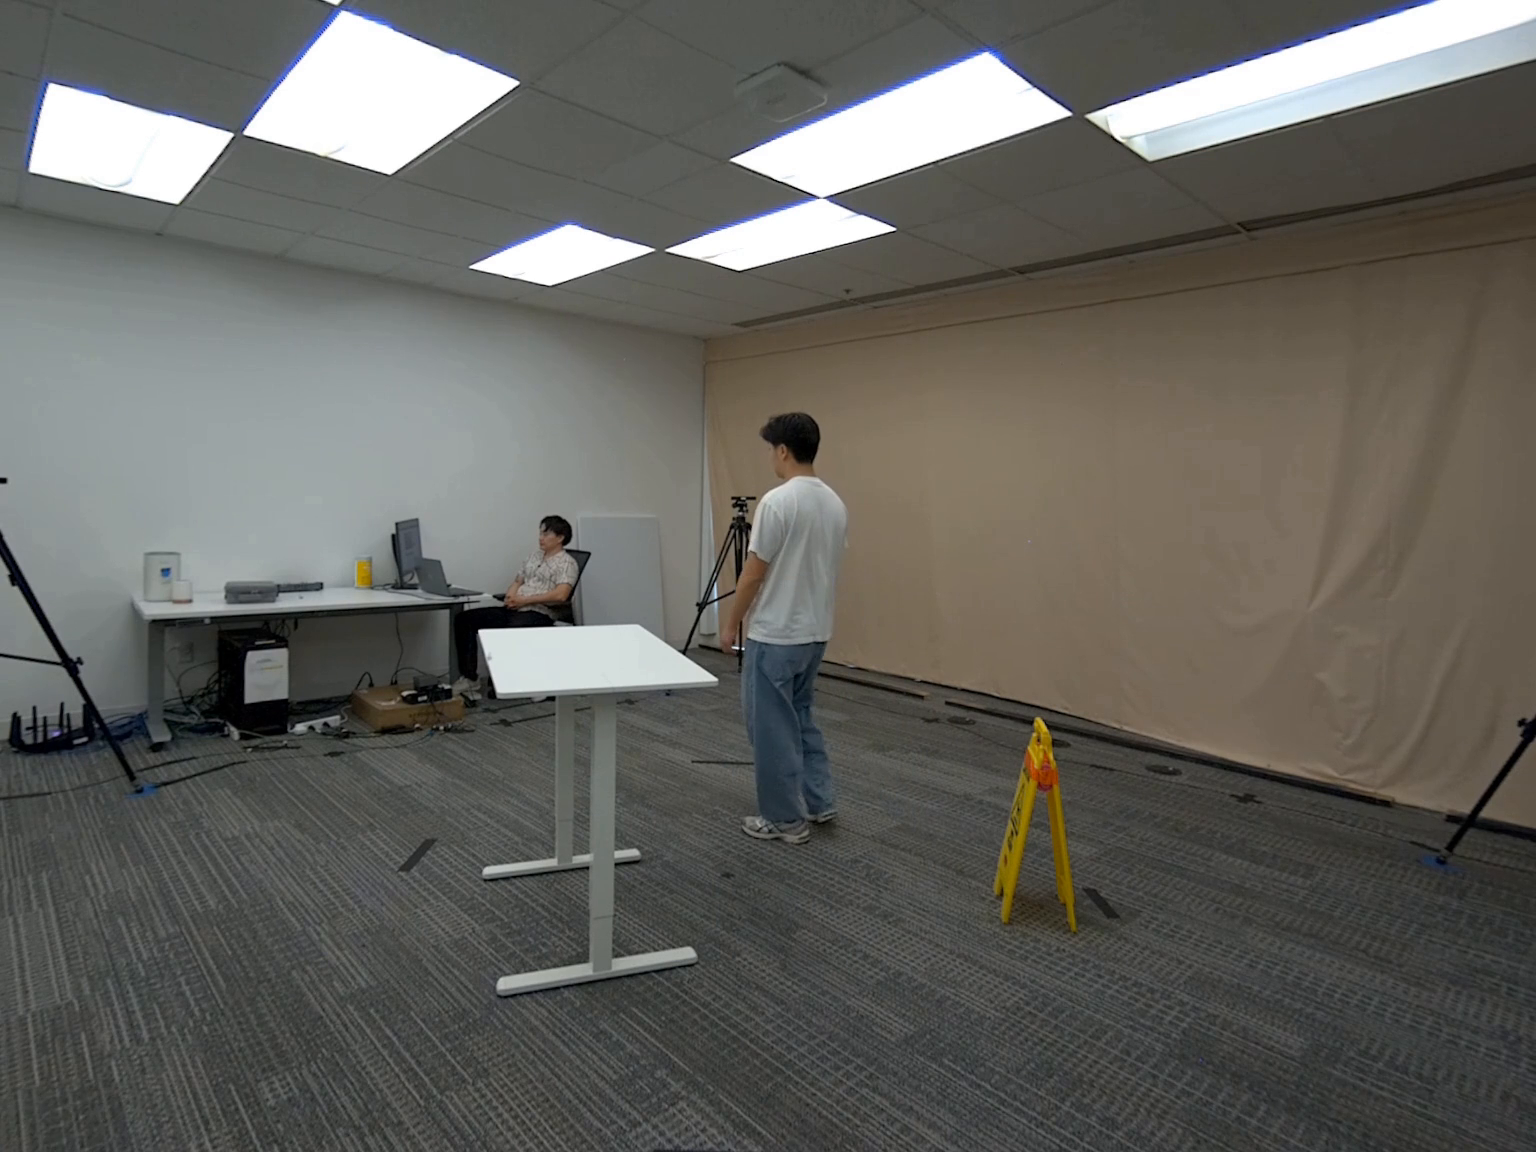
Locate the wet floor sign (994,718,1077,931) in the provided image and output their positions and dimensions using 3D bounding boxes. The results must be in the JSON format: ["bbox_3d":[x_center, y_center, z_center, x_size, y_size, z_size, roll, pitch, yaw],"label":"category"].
[{"bbox_3d":[0.928,0.827,2.890,0.292,0.644,0.281,2,4,9],"label":"wet floor sign"}]
